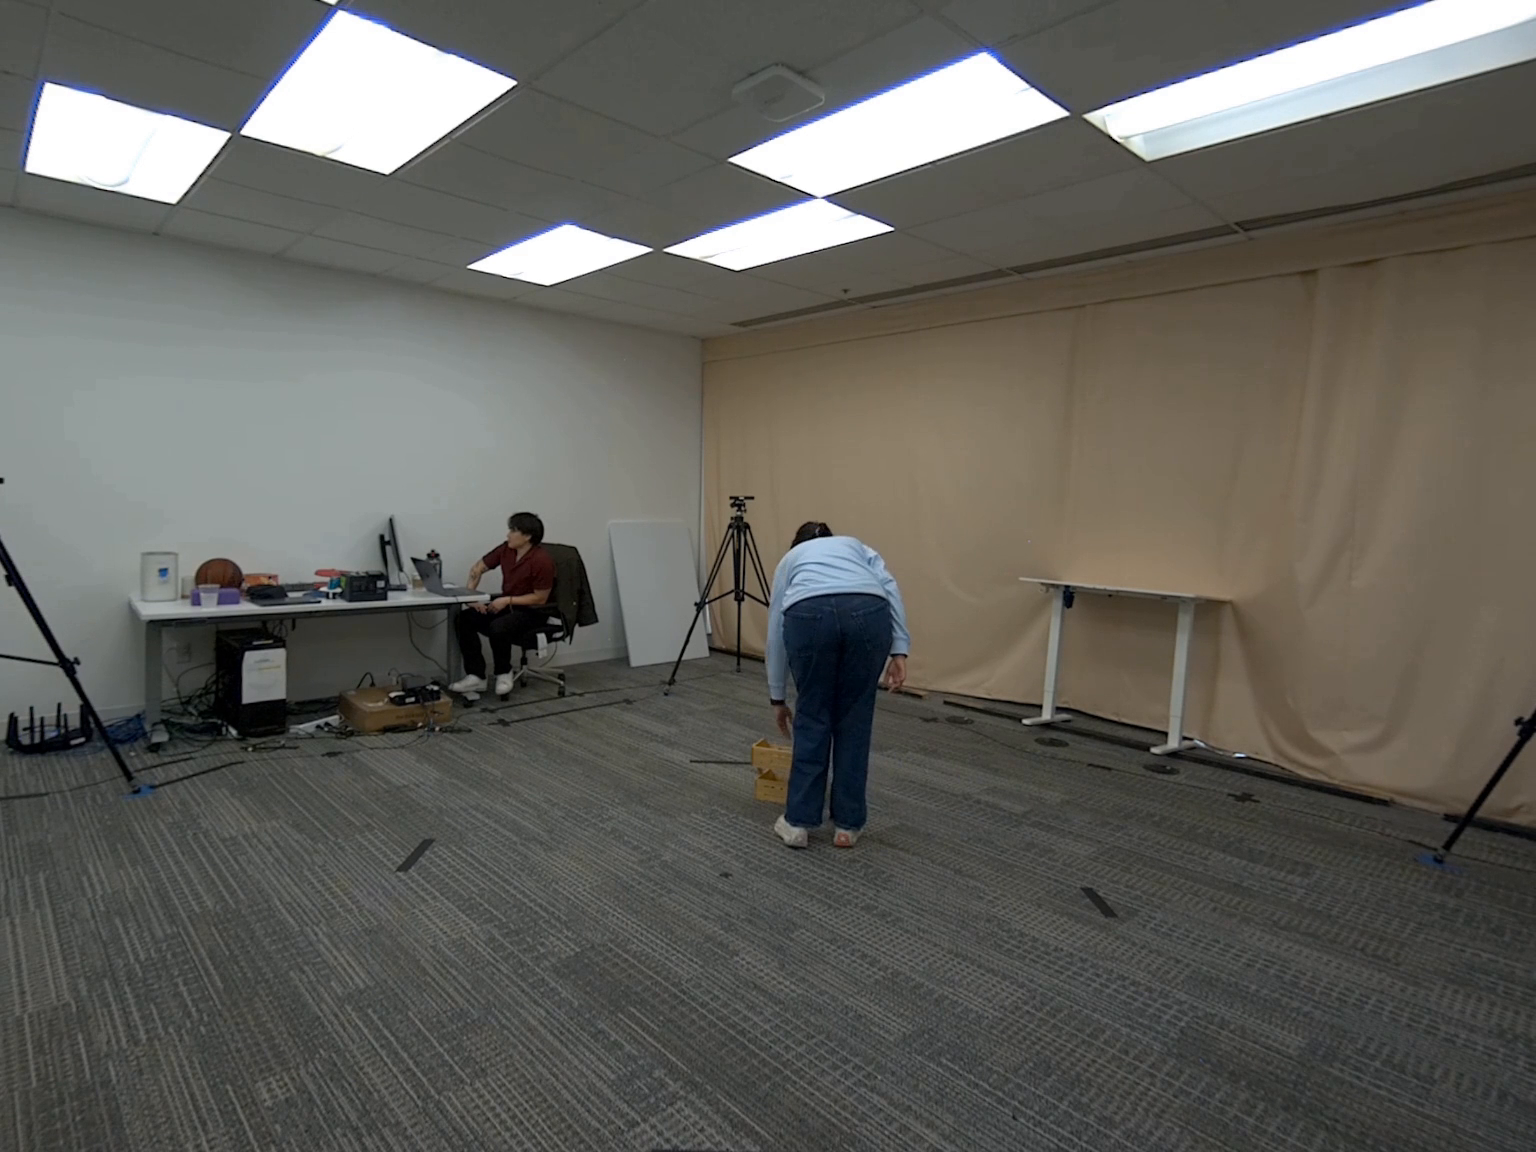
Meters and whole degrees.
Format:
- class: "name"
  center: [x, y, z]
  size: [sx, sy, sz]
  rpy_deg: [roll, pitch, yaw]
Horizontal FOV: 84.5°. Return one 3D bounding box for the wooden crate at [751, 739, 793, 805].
- class: "wooden crate"
  center: [0.096, 0.906, 3.959]
  size: [0.330, 0.272, 0.298]
  rpy_deg: [3, 6, 20]
